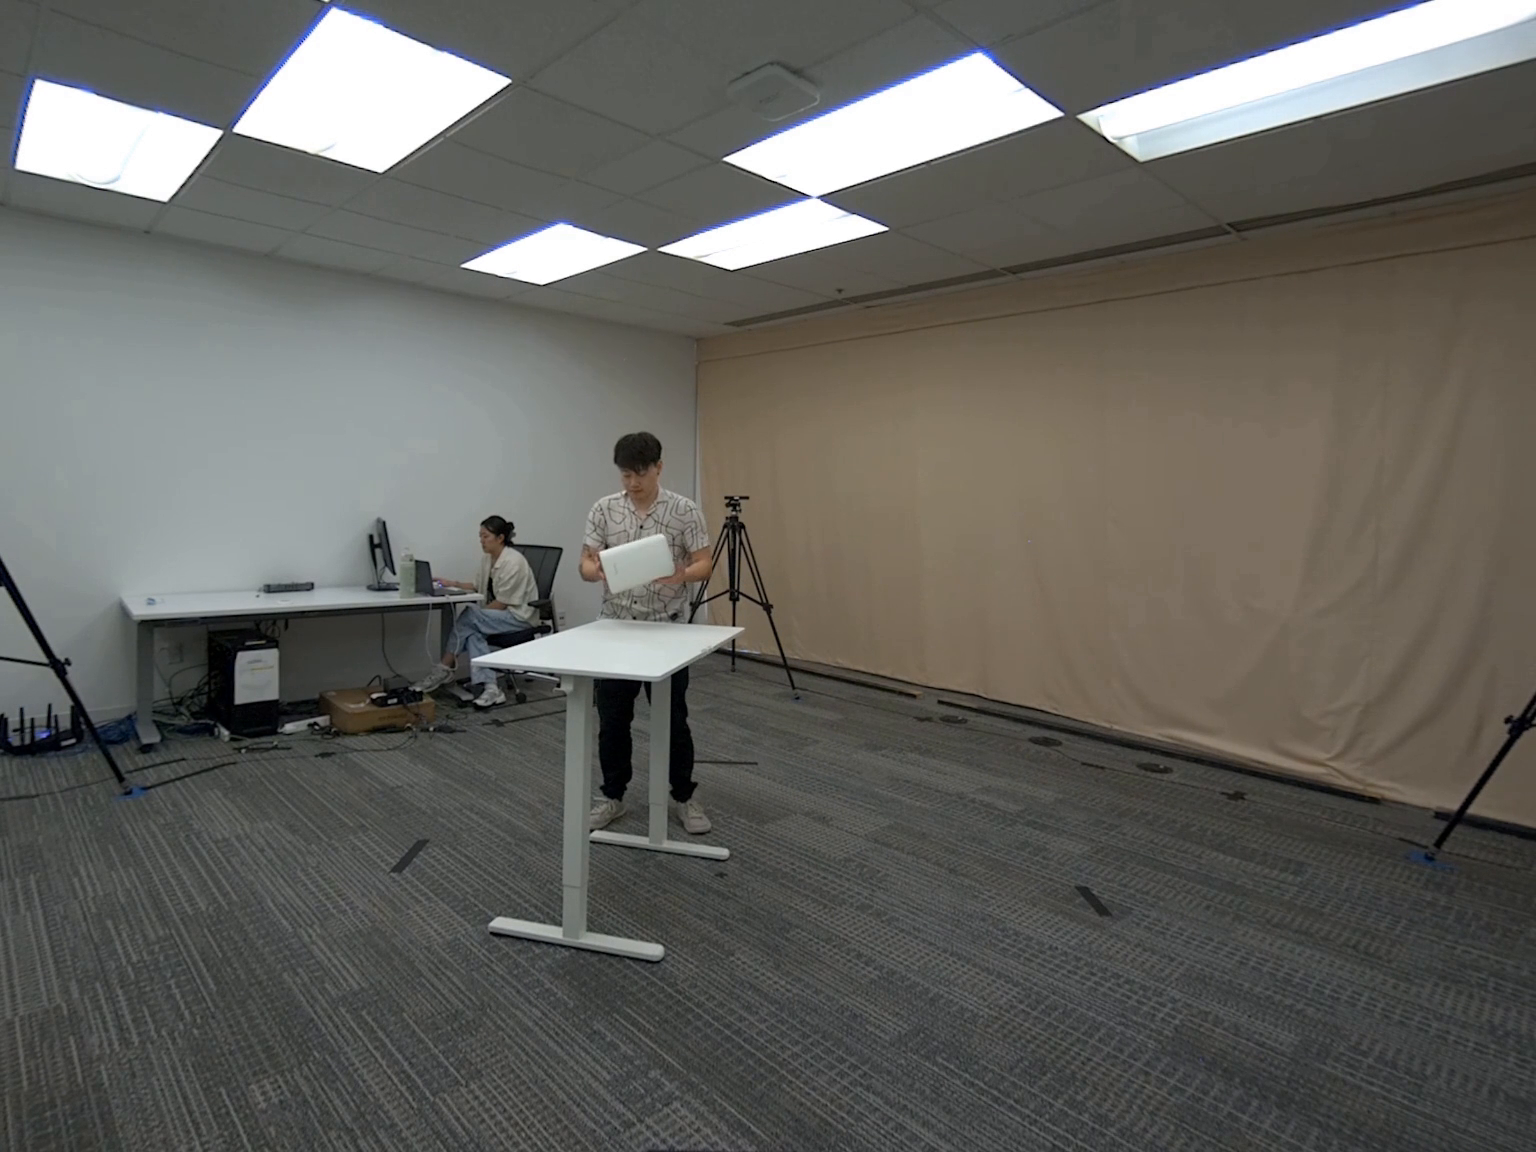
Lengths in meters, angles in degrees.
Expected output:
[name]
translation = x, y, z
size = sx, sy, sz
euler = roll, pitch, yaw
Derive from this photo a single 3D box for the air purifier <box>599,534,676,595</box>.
[air purifier]
translation = -0.516, -0.057, 3.277
size = 0.264, 0.171, 0.172
euler = -15, 0, -6
